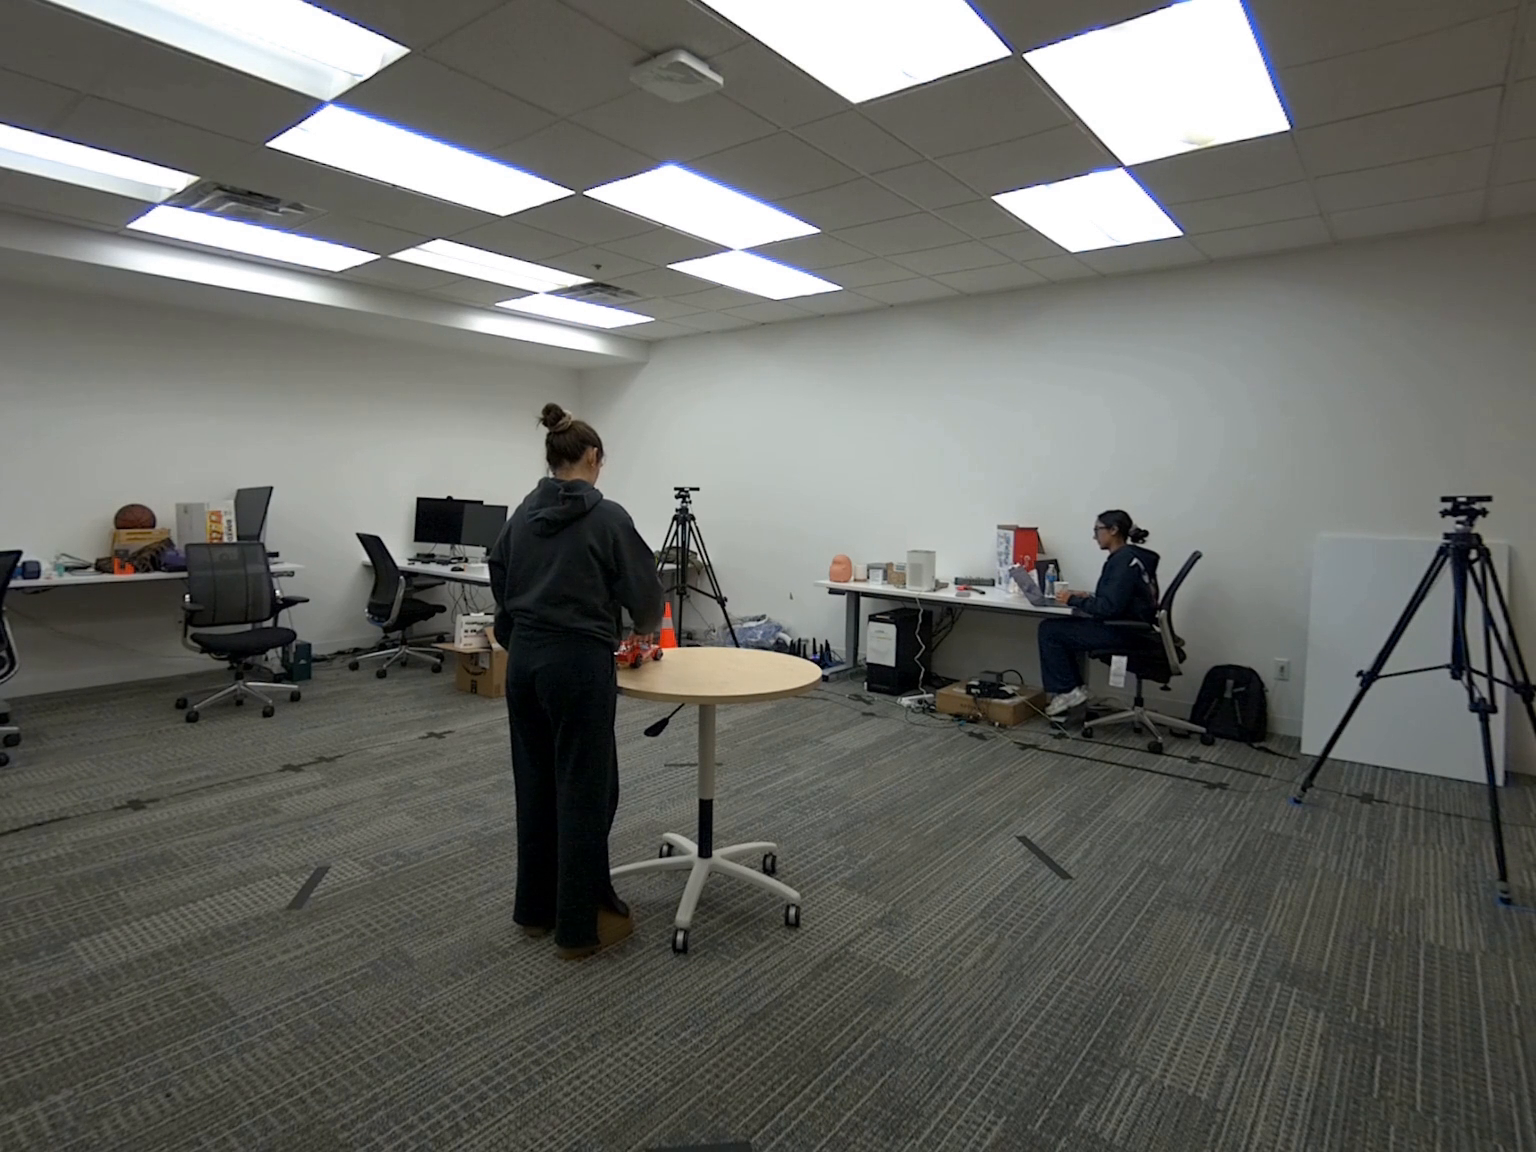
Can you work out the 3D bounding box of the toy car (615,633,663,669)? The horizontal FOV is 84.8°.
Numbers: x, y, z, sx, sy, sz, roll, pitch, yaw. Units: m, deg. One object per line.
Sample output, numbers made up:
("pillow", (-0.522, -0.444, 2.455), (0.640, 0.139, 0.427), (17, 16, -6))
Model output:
("toy car", (-0.472, 0.269, 2.925), (0.133, 0.083, 0.247), (2, -5, 23))
